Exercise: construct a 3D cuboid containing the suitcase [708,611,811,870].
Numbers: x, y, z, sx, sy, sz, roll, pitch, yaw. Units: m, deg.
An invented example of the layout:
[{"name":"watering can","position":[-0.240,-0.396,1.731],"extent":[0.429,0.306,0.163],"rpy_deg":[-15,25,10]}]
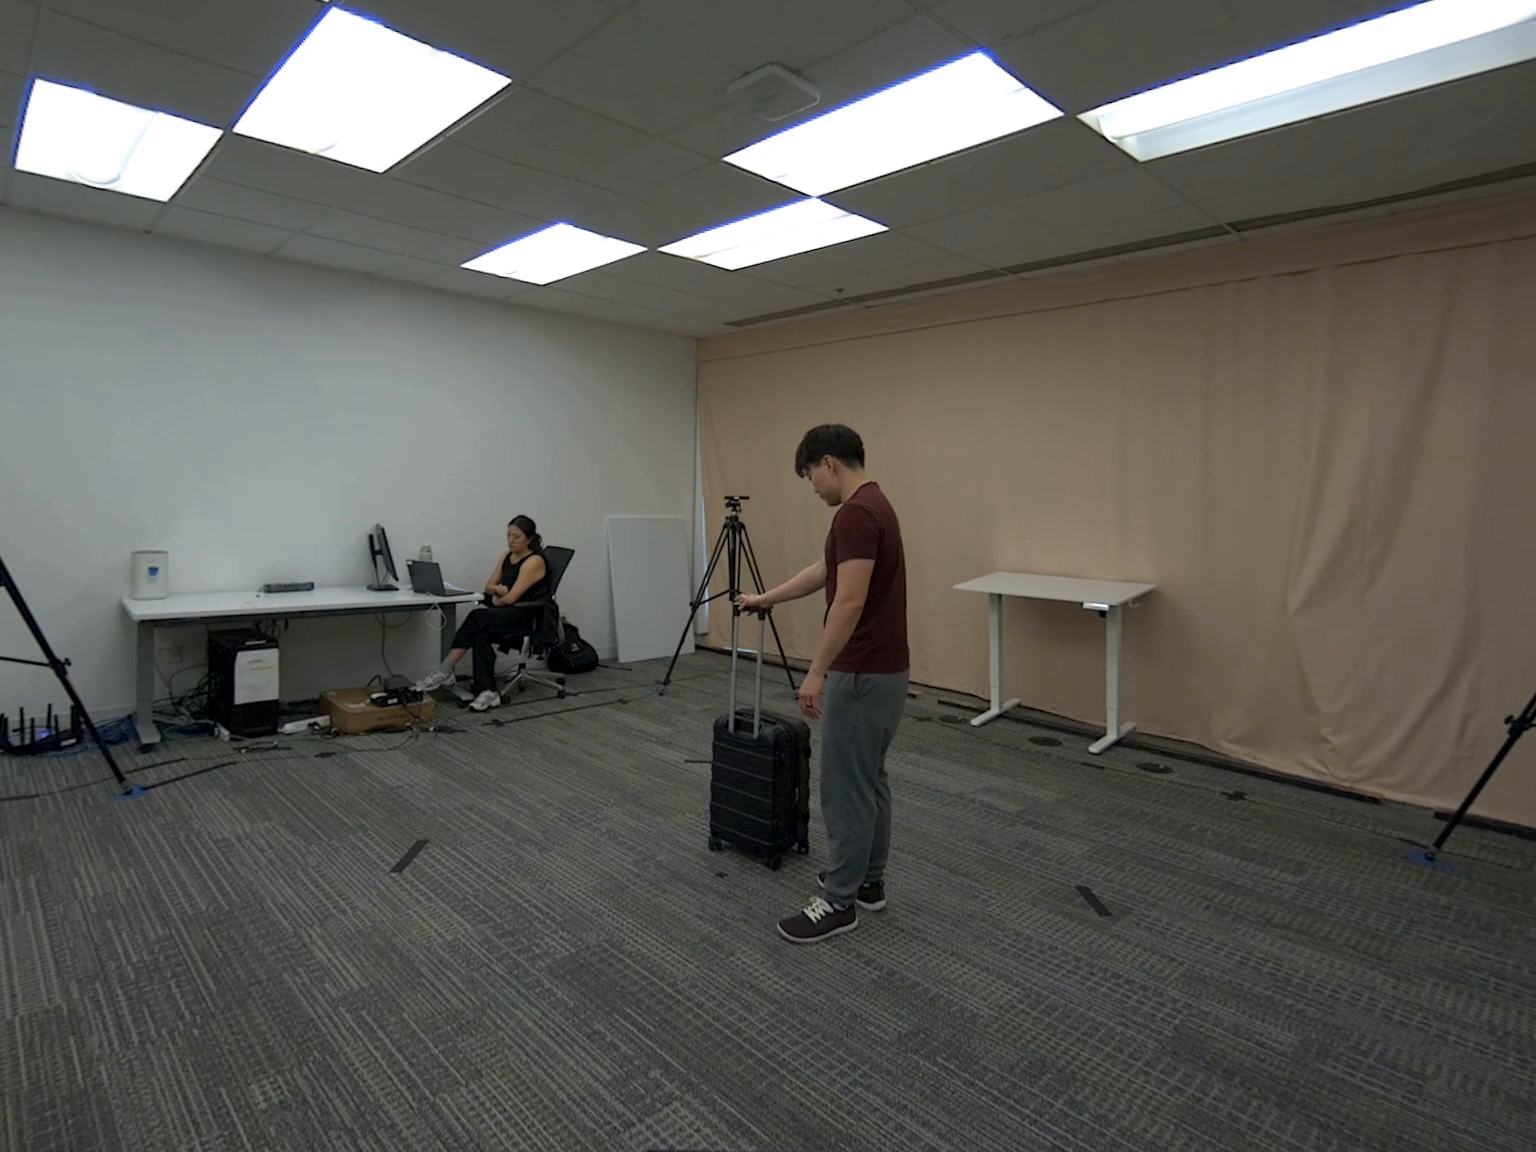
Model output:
[{"name":"suitcase","position":[-0.033,0.609,3.319],"extent":[0.394,0.977,0.251],"rpy_deg":[4,2,41]}]
